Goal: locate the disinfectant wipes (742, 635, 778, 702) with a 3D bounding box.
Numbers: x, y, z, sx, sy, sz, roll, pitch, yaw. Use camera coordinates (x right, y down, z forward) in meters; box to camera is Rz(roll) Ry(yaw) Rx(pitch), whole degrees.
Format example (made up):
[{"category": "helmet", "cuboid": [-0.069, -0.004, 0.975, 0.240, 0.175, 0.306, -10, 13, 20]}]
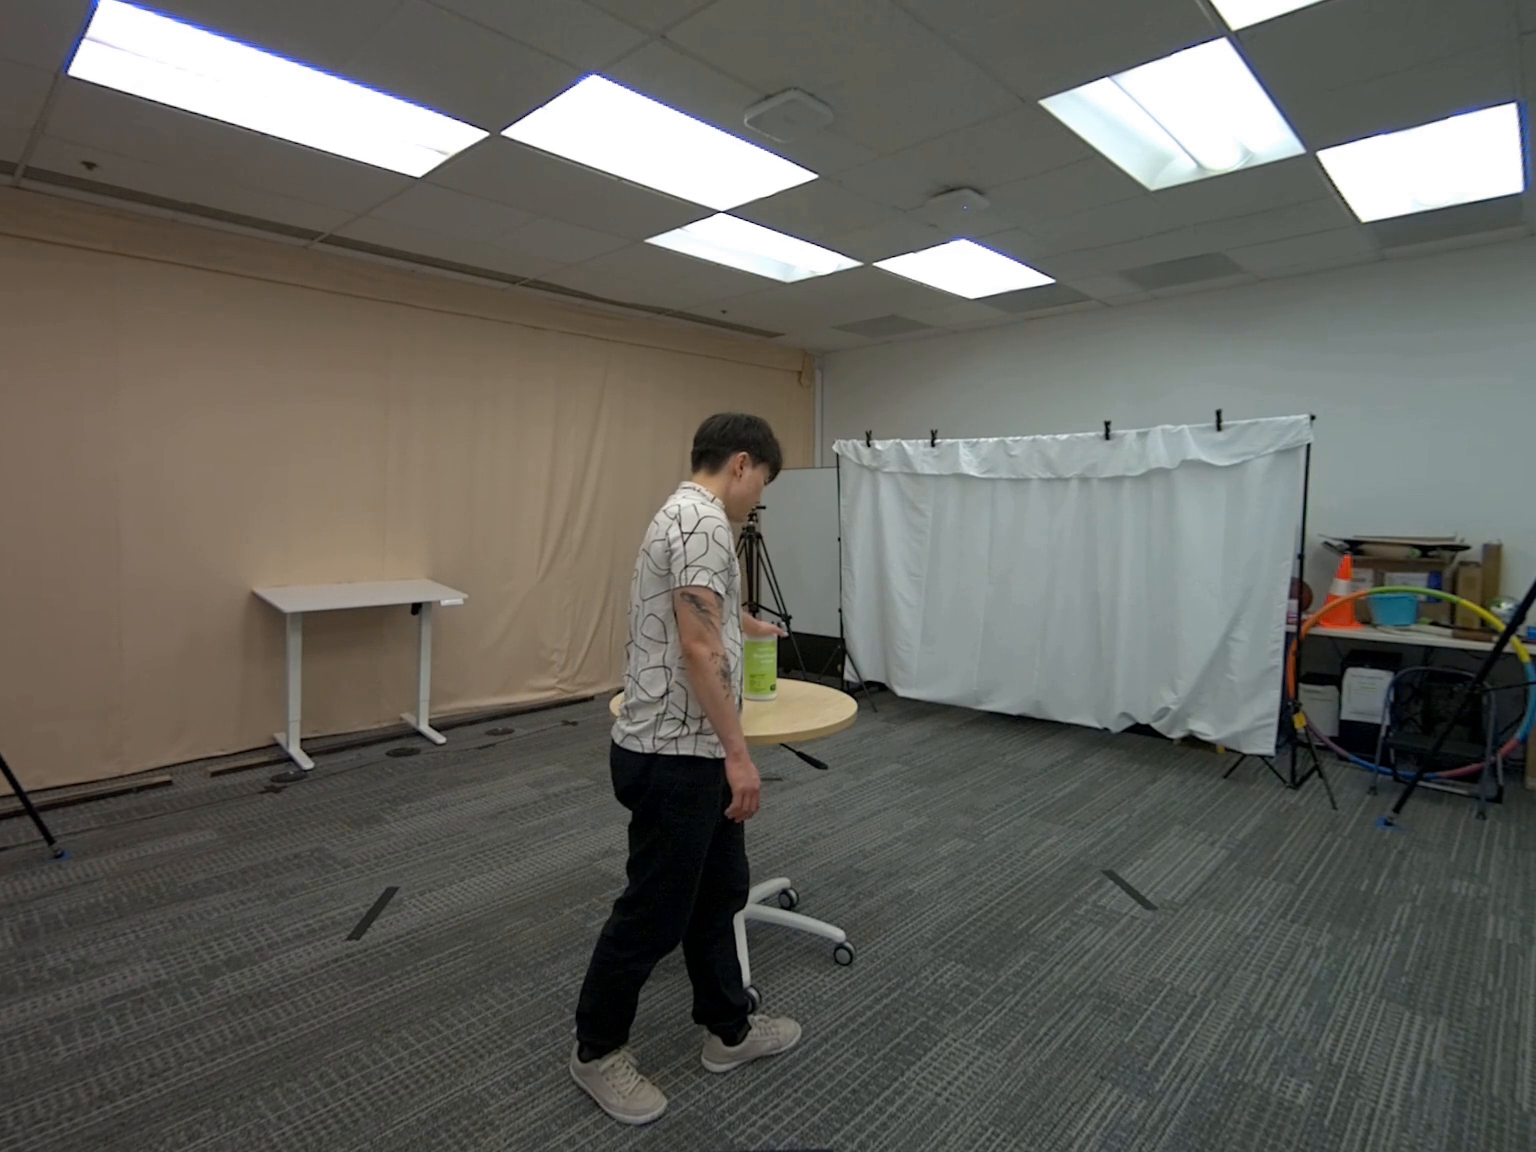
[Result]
[{"category": "disinfectant wipes", "cuboid": [-0.022, 0.286, 2.677, 0.117, 0.217, 0.118, 1, 4, -2]}]
